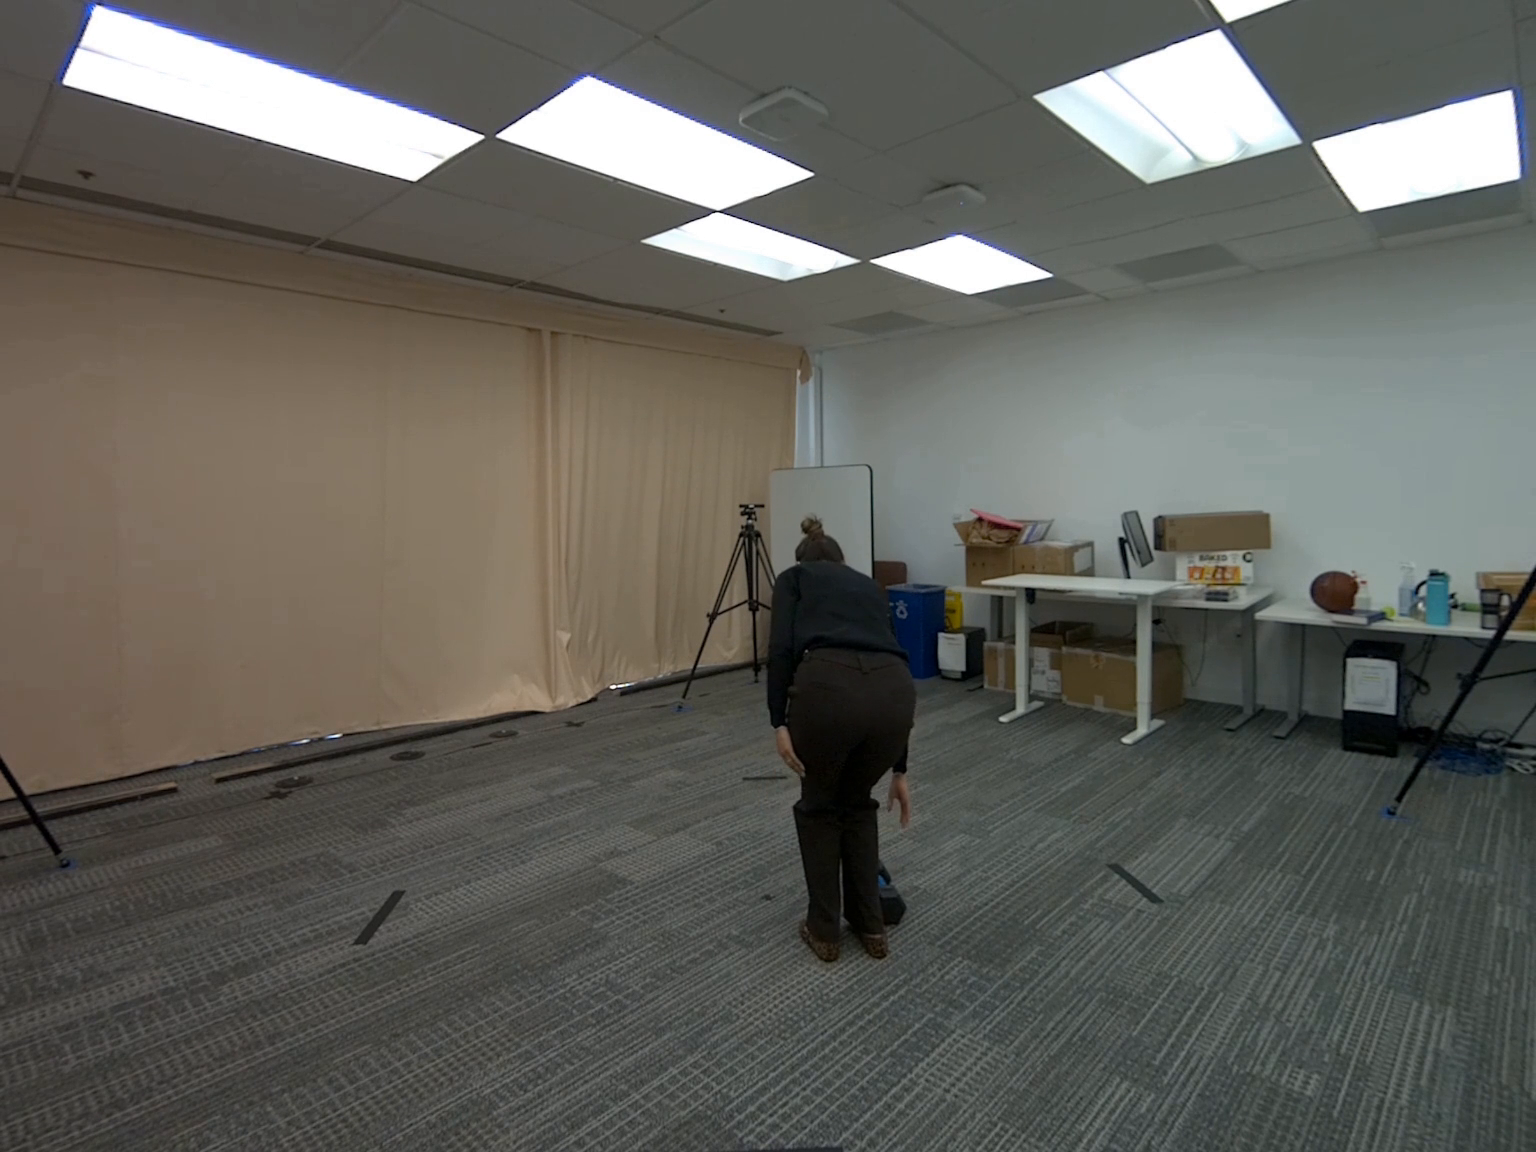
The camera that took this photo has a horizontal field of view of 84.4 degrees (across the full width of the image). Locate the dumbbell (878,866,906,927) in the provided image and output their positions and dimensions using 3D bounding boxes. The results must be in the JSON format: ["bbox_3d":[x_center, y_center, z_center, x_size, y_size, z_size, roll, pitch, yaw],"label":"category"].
[{"bbox_3d":[0.394,1.086,2.907,0.108,0.123,0.295,26,2,-6],"label":"dumbbell"}]
